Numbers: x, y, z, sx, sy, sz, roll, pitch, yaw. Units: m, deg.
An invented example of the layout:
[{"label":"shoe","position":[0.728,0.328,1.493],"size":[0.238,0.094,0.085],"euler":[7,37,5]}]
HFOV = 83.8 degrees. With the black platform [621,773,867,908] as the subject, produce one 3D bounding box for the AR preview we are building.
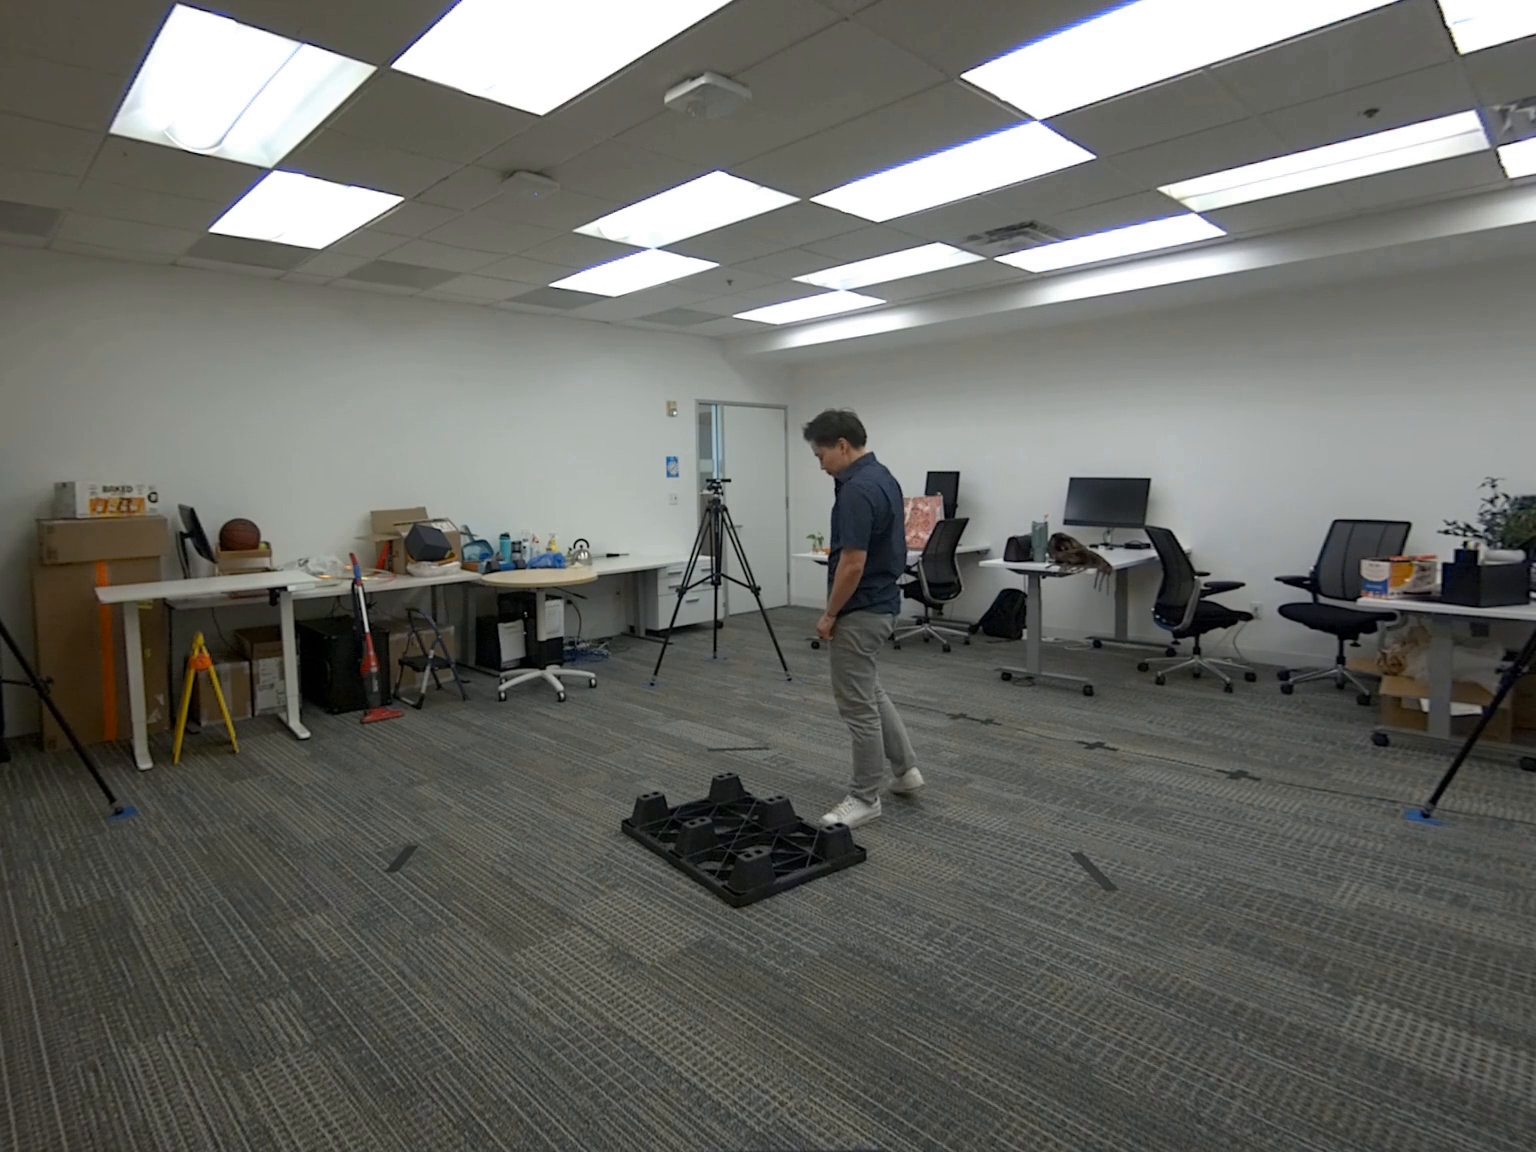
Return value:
[{"label":"black platform","position":[-0.107,0.962,3.265],"size":[0.590,0.142,0.830],"euler":[-6,9,-37]}]
